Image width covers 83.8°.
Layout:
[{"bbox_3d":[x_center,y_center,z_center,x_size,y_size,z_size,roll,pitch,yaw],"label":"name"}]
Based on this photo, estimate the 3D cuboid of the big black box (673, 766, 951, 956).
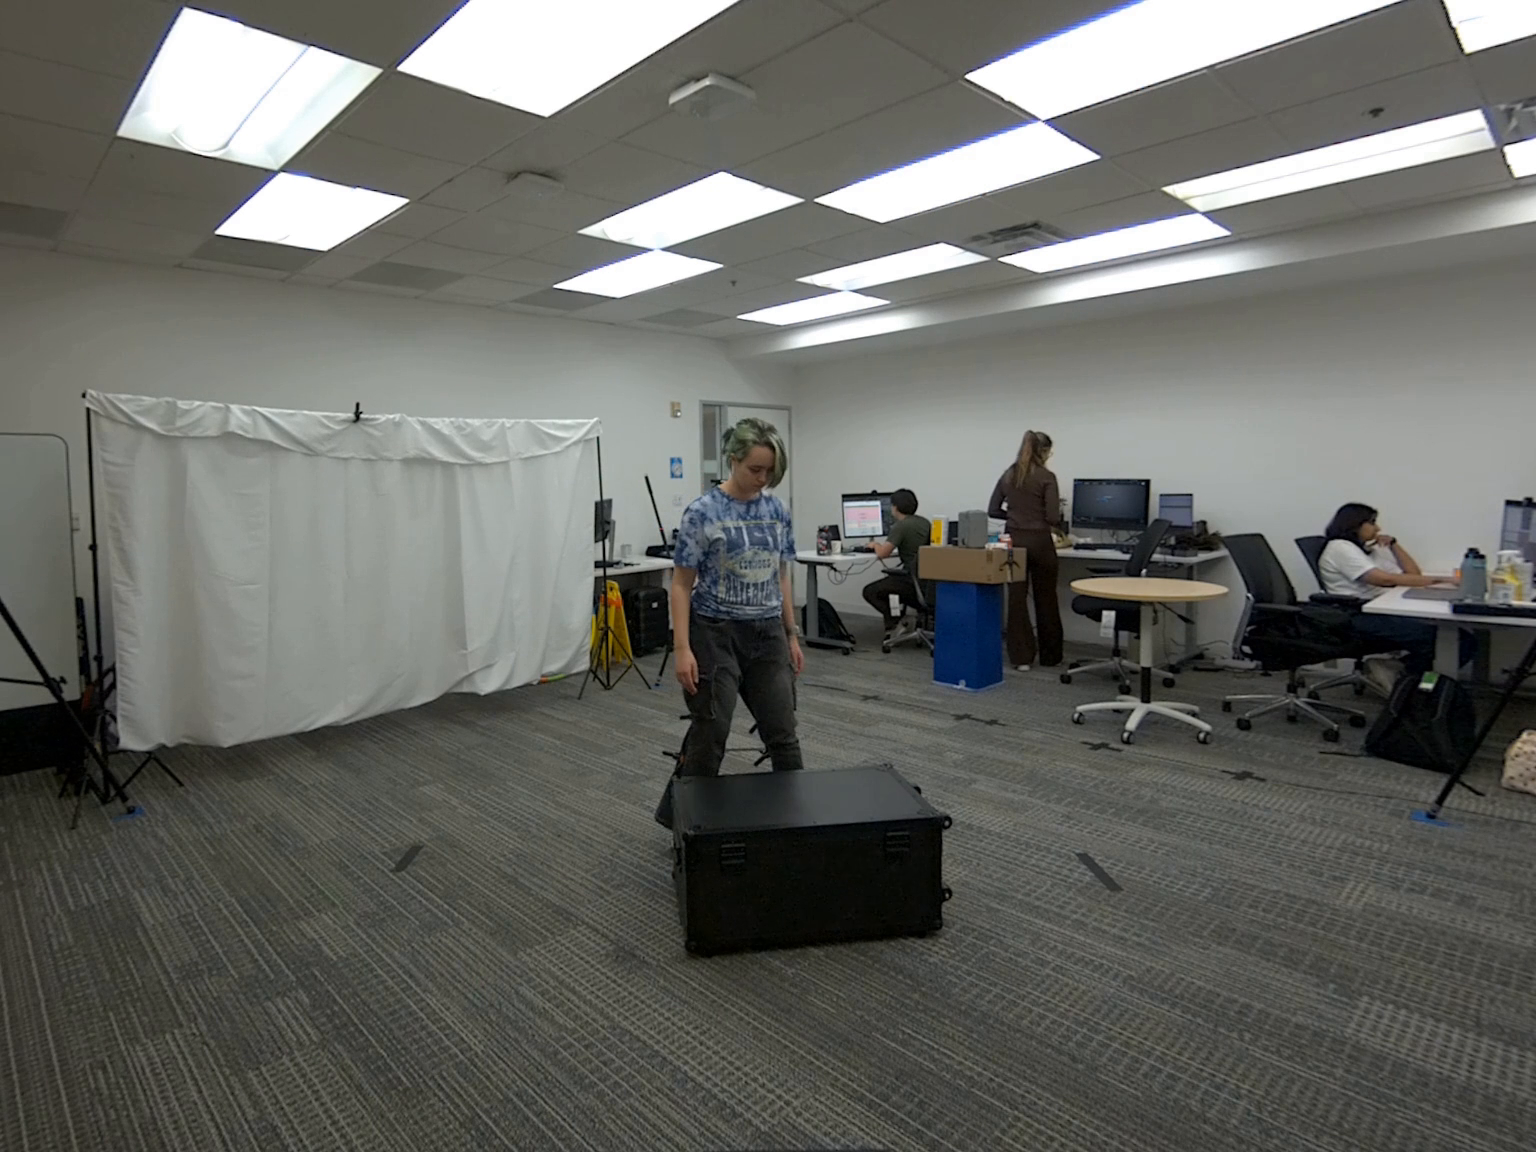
[{"bbox_3d":[0.072,0.891,2.761,0.855,0.395,0.527,-2,5,-9],"label":"big black box"}]
